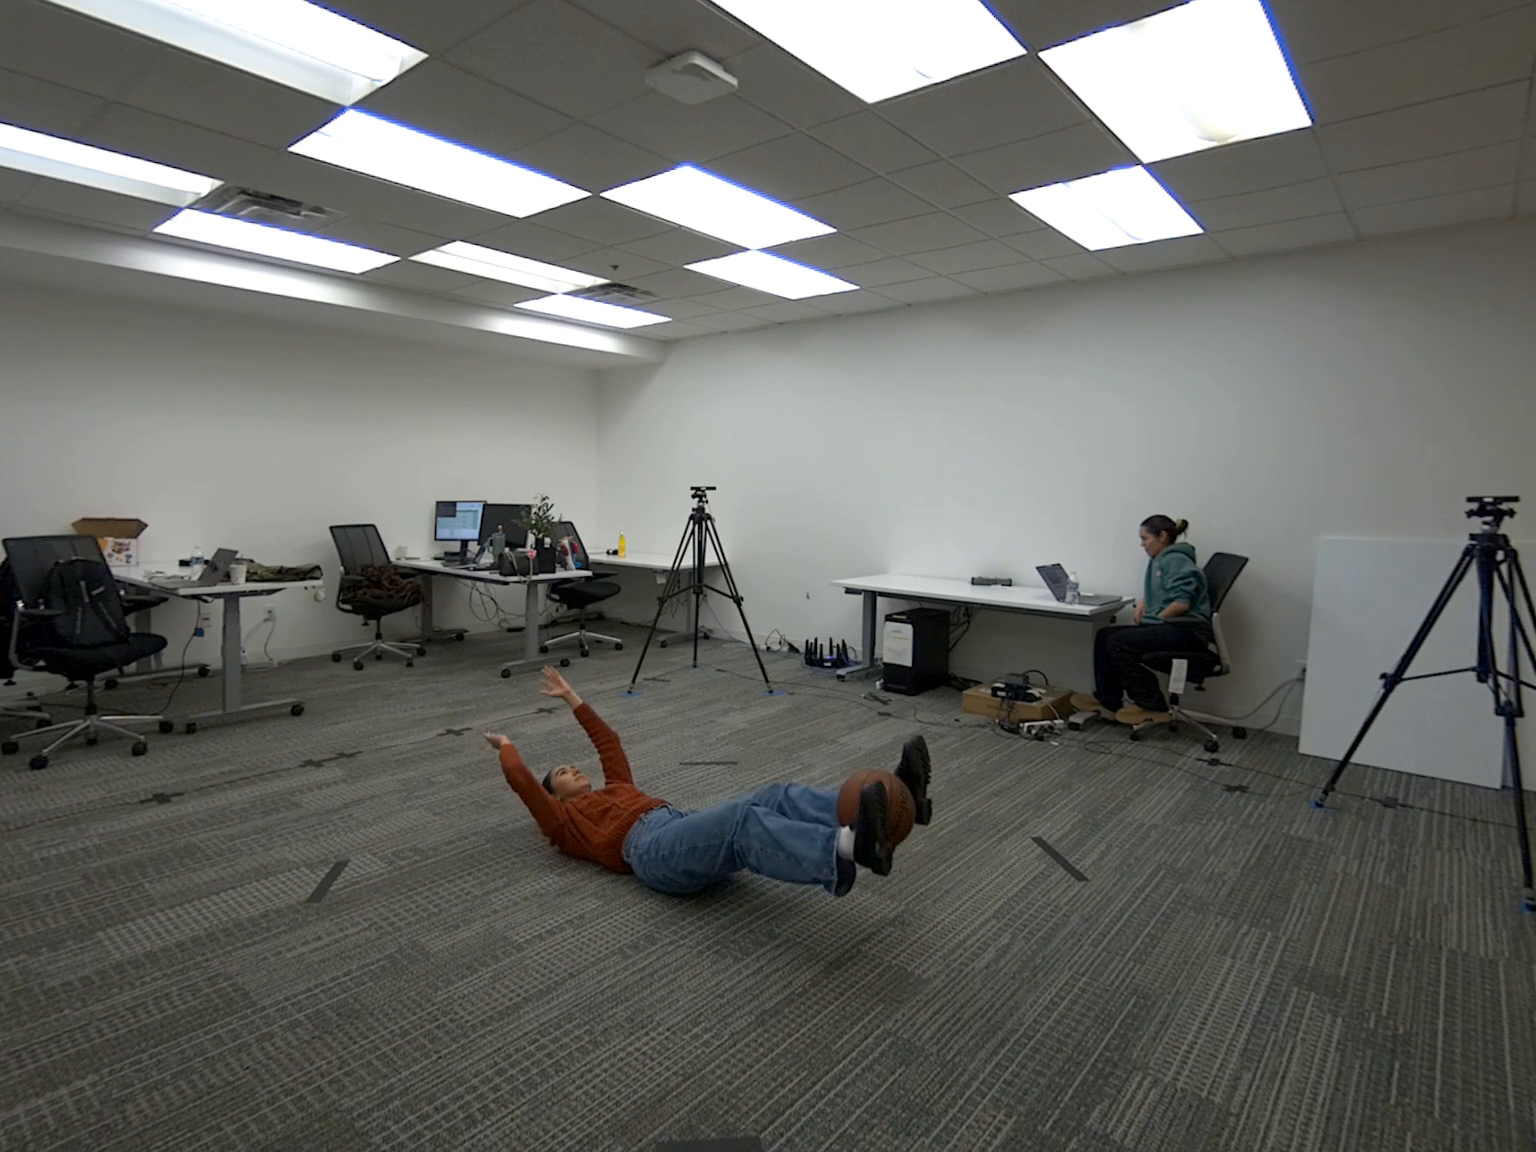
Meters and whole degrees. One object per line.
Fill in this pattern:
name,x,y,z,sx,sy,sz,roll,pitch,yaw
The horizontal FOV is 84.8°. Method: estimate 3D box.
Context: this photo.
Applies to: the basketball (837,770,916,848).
basketball,0.325,0.706,2.584,0.236,0.235,0.237,-3,3,-2
